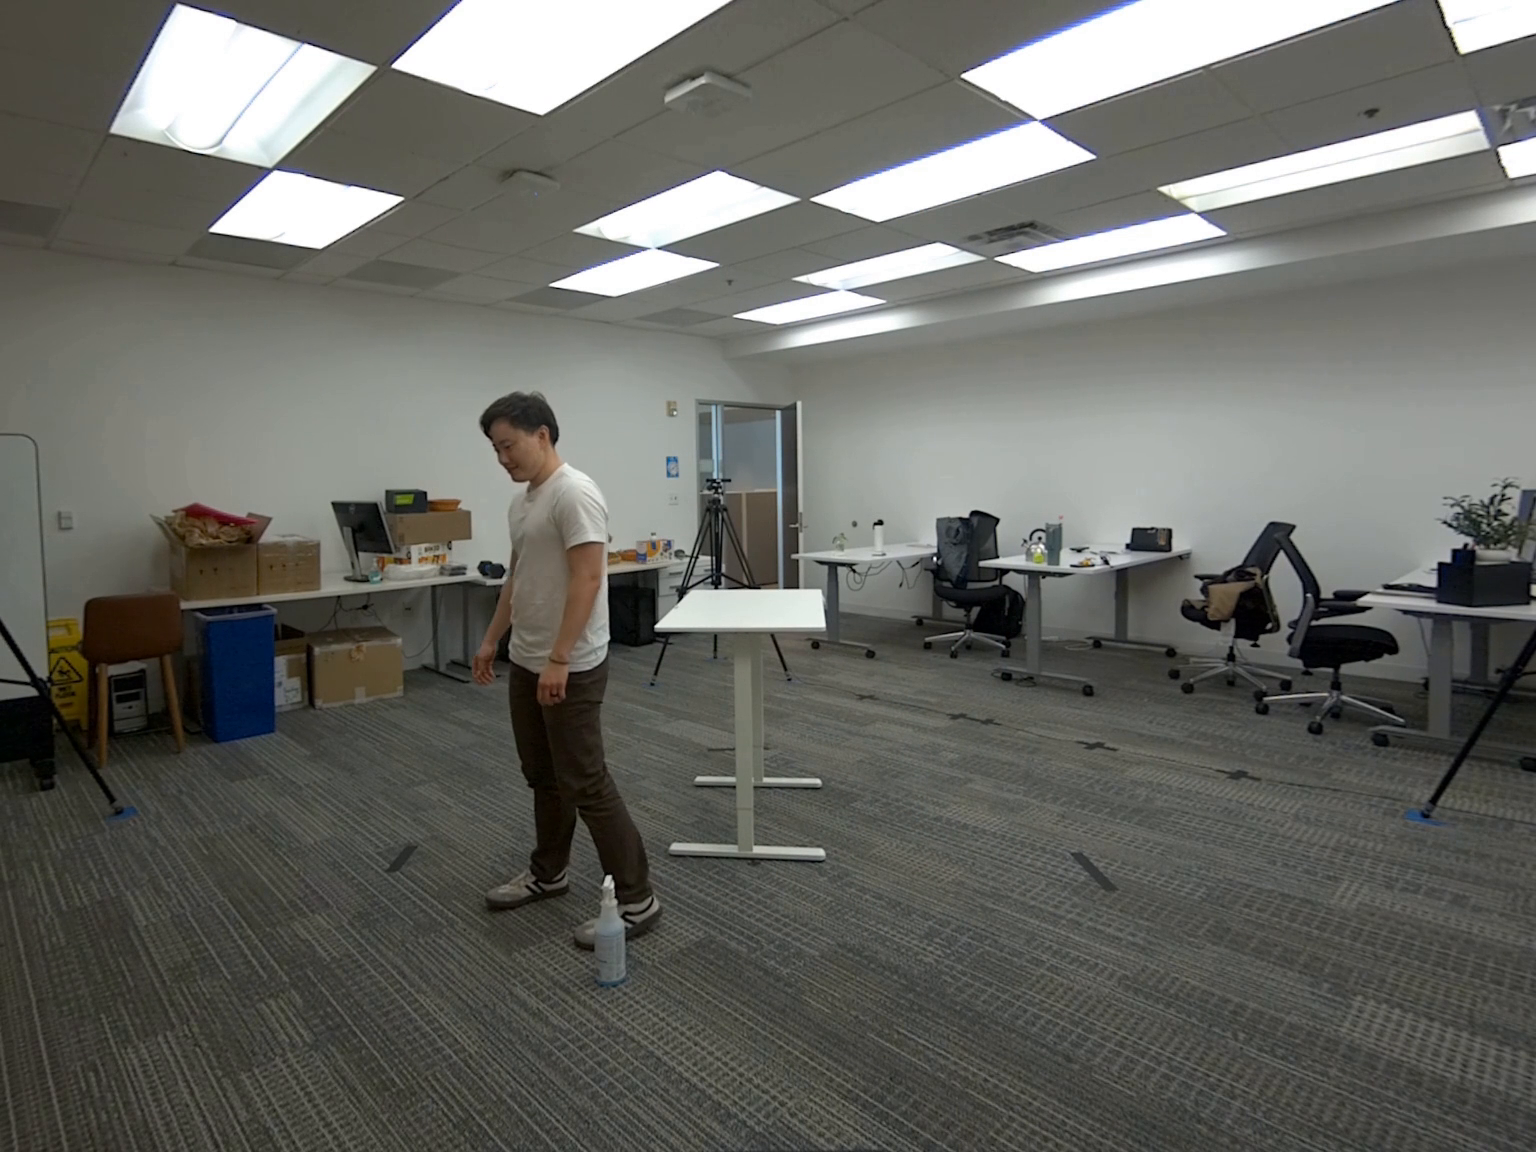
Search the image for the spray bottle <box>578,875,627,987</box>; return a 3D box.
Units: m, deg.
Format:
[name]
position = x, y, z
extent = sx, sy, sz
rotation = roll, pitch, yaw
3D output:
[spray bottle]
position = -0.442, 0.996, 2.397
extent = 0.089, 0.296, 0.088
rotation = 1, 4, 24
